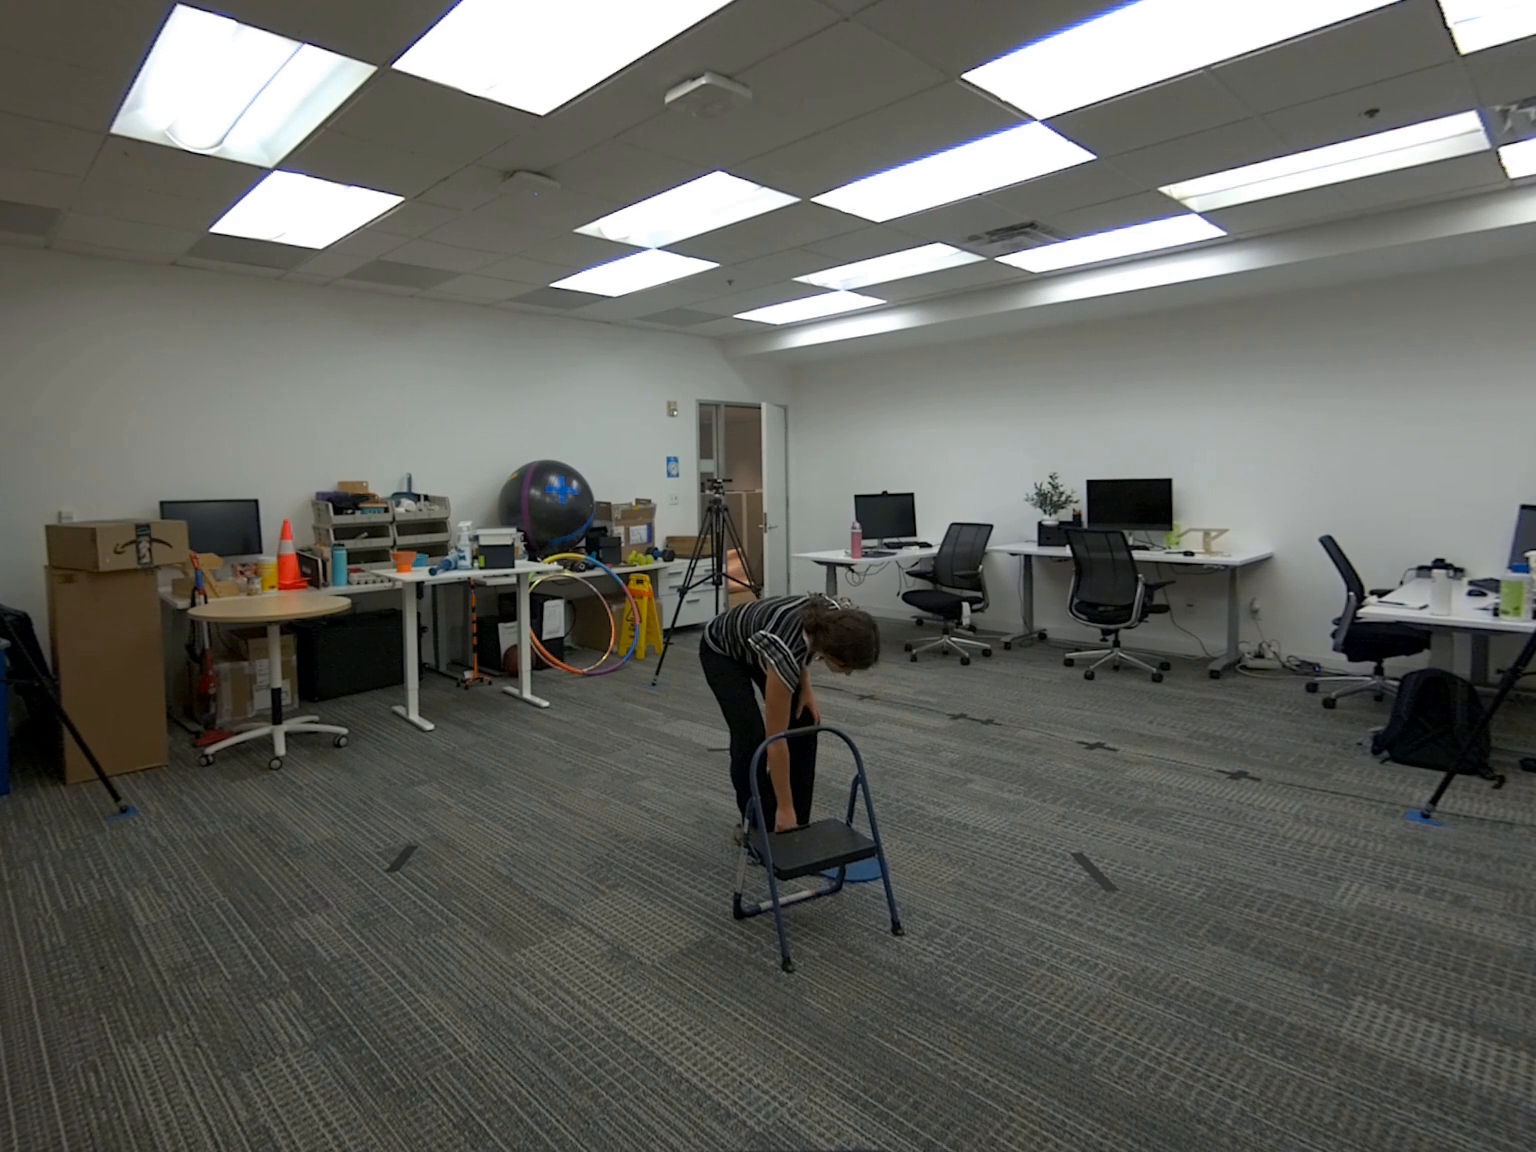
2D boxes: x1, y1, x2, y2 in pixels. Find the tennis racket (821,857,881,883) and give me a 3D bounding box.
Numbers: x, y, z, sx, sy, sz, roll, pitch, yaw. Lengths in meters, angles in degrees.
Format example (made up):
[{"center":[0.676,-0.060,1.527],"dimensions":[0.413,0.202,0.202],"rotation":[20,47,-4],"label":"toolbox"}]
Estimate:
[{"center":[0.222,1.033,3.038],"dimensions":[0.429,0.031,0.216],"rotation":[0,6,-9],"label":"tennis racket"}]
